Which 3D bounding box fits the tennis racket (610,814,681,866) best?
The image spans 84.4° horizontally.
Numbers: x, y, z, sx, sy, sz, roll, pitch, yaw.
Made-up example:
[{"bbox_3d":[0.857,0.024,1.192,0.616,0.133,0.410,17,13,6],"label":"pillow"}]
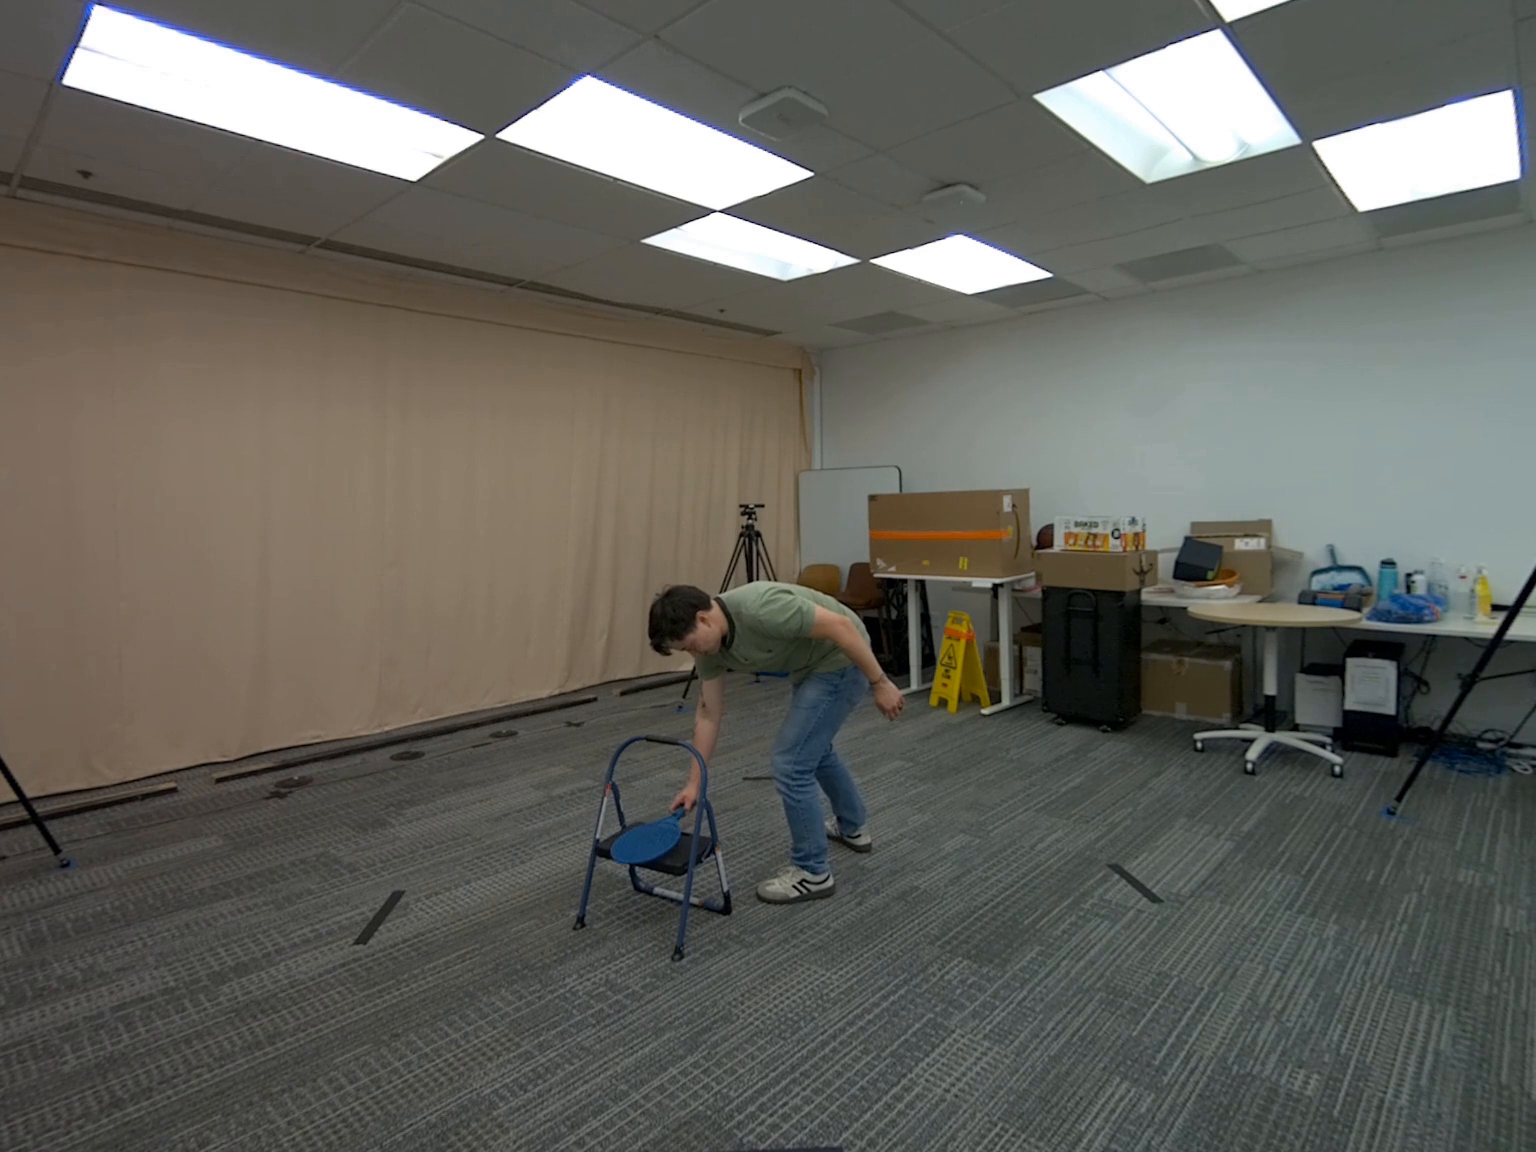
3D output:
[{"bbox_3d":[-0.348,0.862,2.831,0.220,0.031,0.423,-2,12,33],"label":"tennis racket"}]
